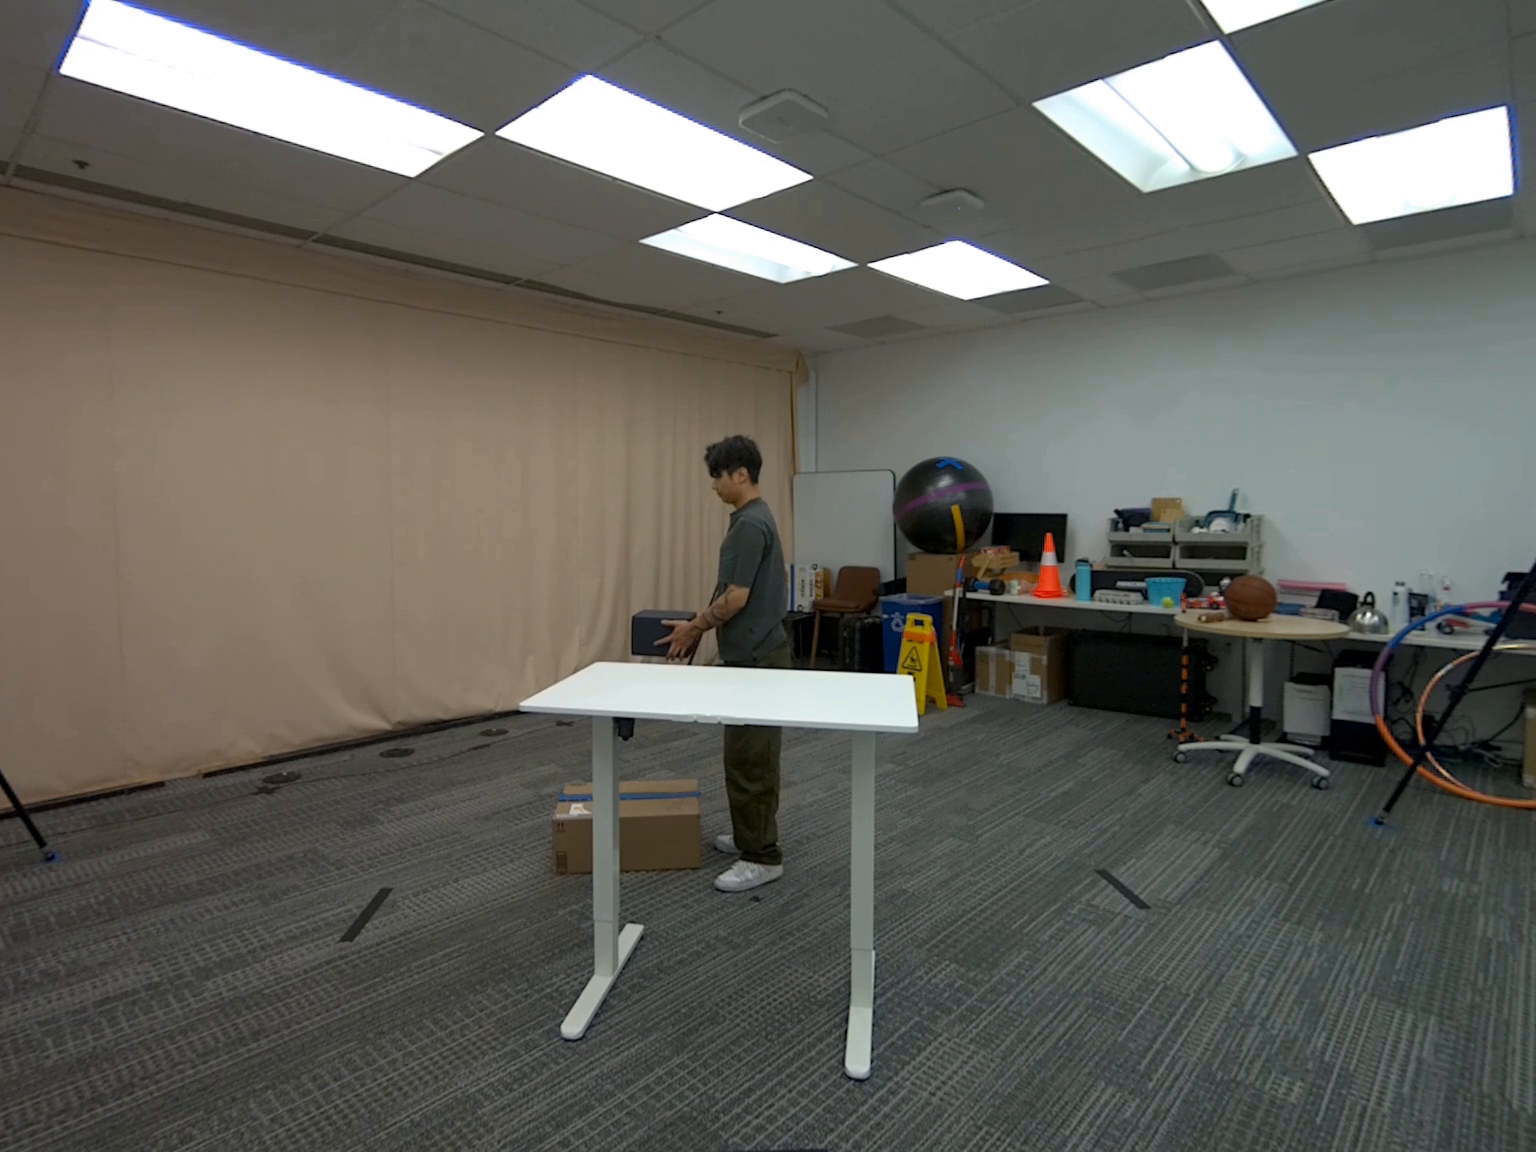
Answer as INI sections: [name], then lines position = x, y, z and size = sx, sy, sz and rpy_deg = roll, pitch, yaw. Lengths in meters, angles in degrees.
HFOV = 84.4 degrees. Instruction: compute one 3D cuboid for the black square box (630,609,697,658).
[black square box]
position = -0.415, 0.229, 3.389
size = 0.229, 0.155, 0.216
rpy_deg = 2, 4, 6
